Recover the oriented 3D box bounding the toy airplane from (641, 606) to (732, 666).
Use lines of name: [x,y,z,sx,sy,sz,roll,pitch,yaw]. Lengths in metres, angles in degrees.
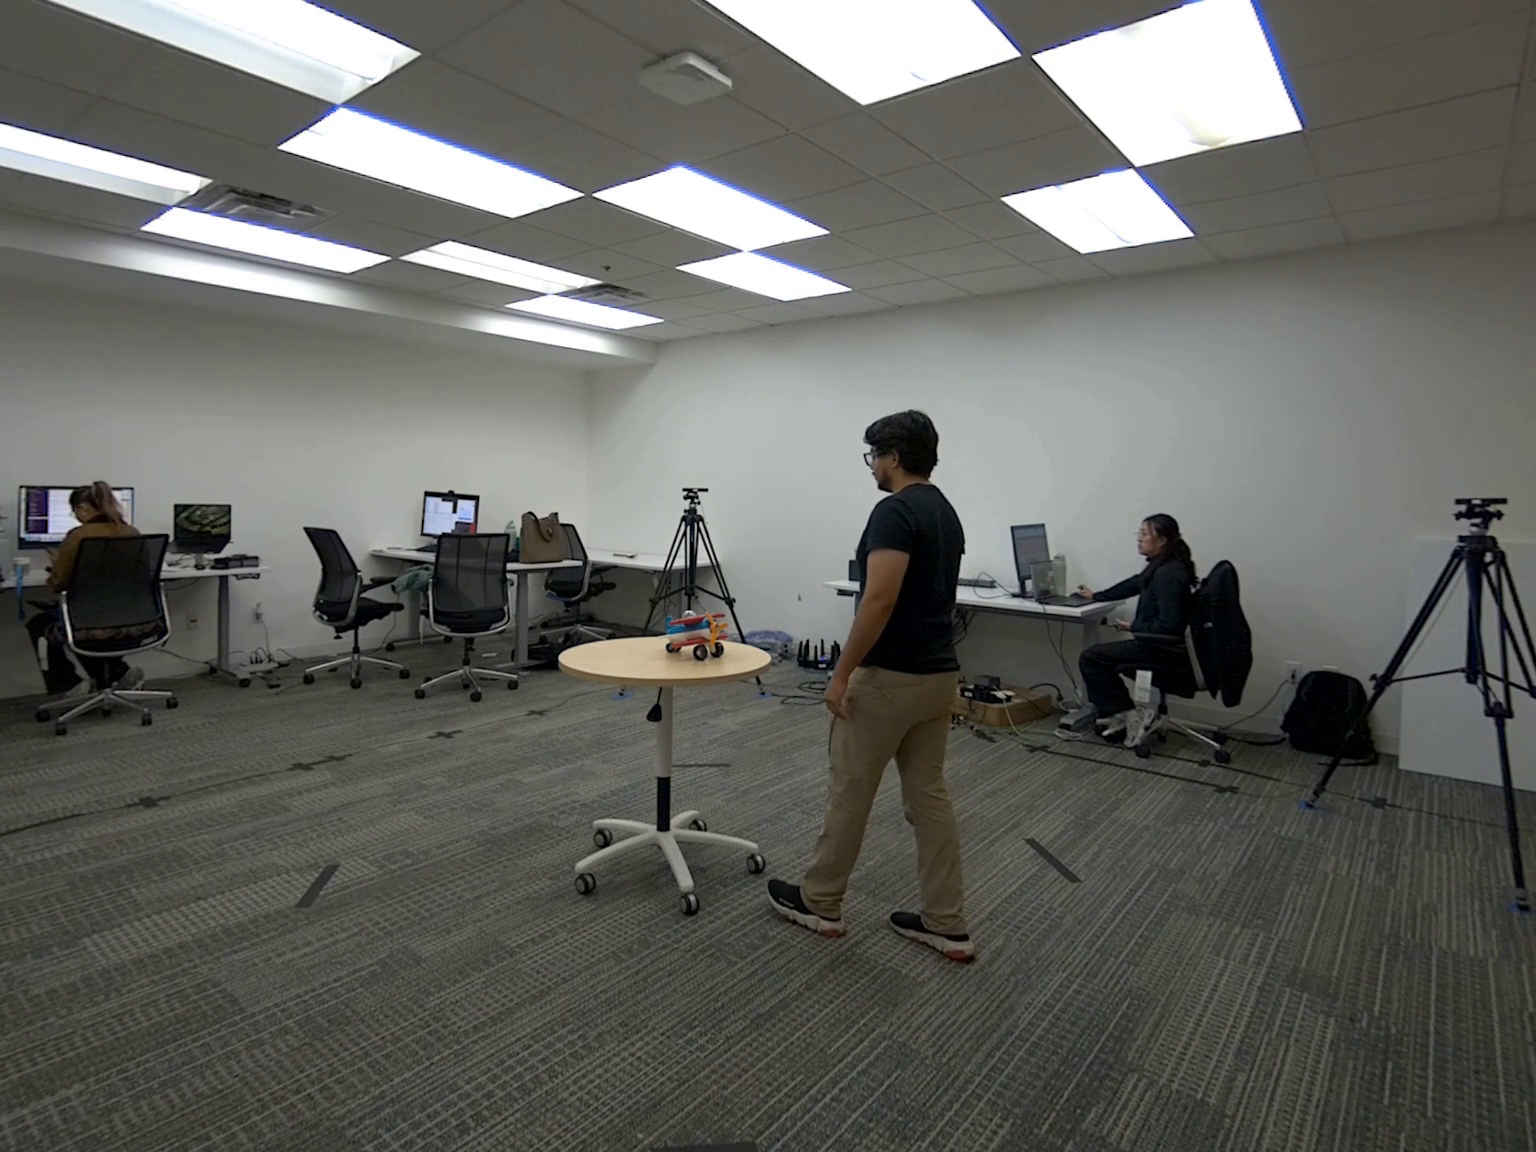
toy airplane: [-0.296,0.212,3.073,0.263,0.156,0.248,4,5,13]
